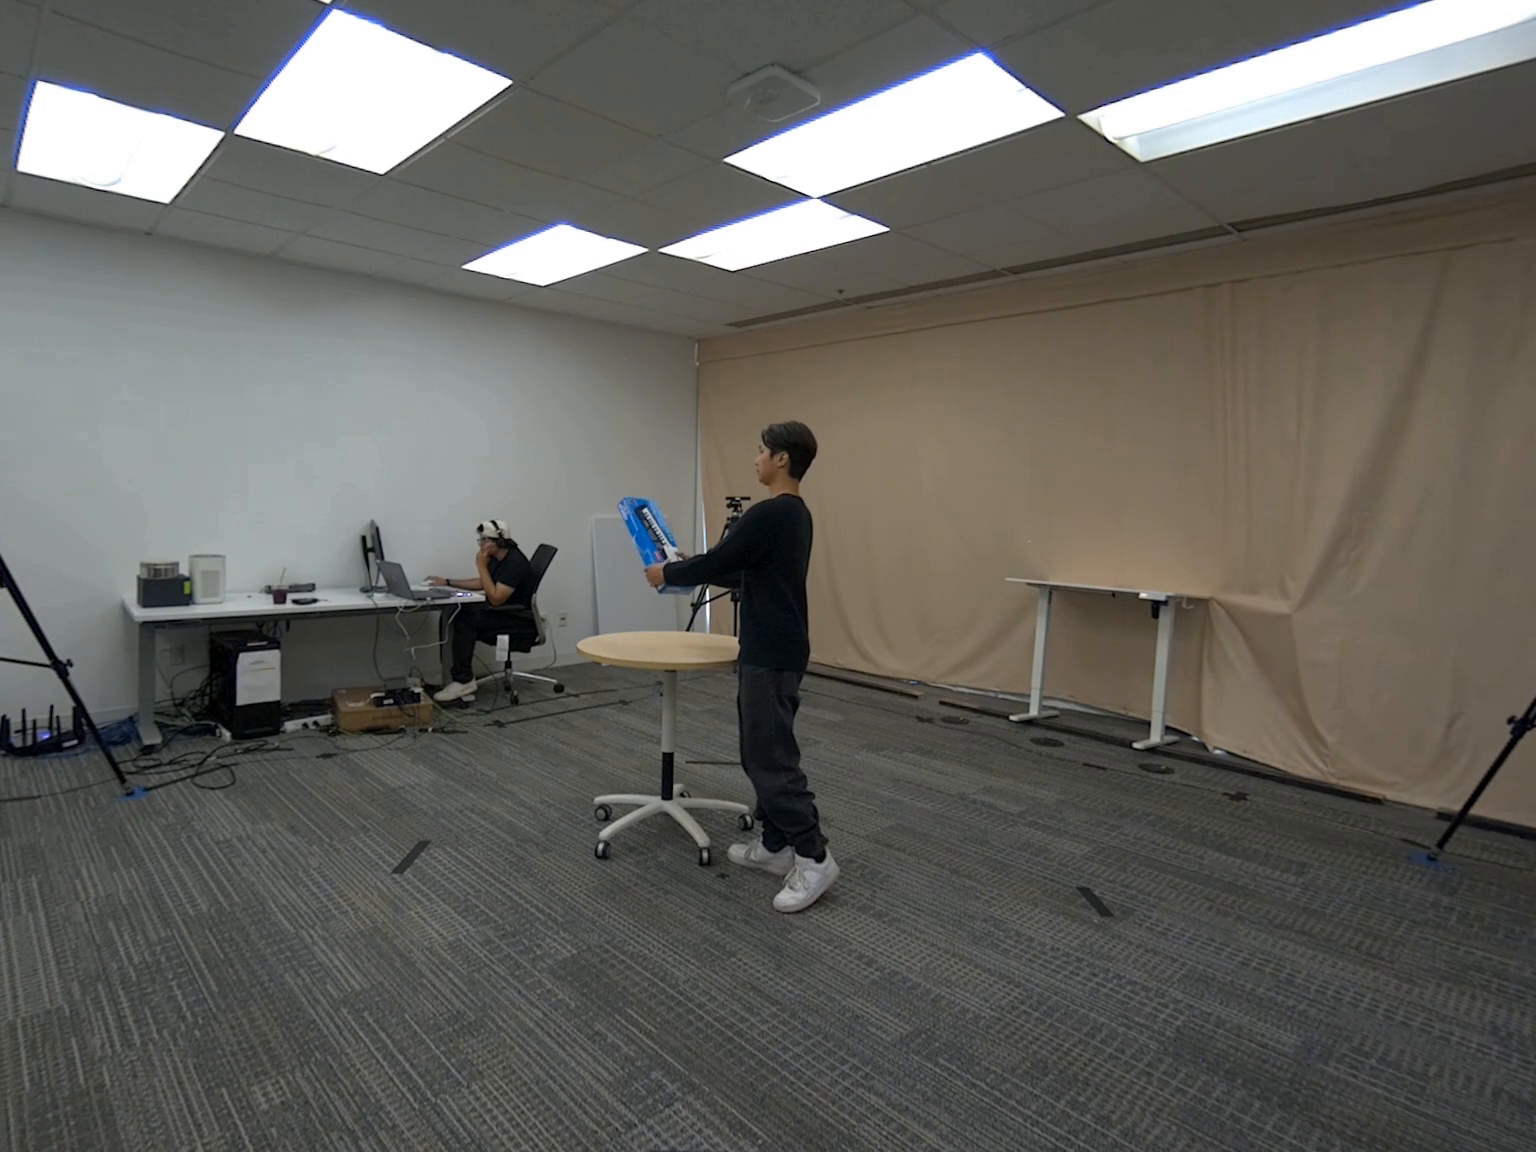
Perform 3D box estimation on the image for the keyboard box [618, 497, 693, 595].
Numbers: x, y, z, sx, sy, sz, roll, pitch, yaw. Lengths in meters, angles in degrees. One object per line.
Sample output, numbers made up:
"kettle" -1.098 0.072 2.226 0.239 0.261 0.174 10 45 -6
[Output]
"keyboard box" -0.444 -0.119 3.377 0.059 0.447 0.171 -43 -29 28
